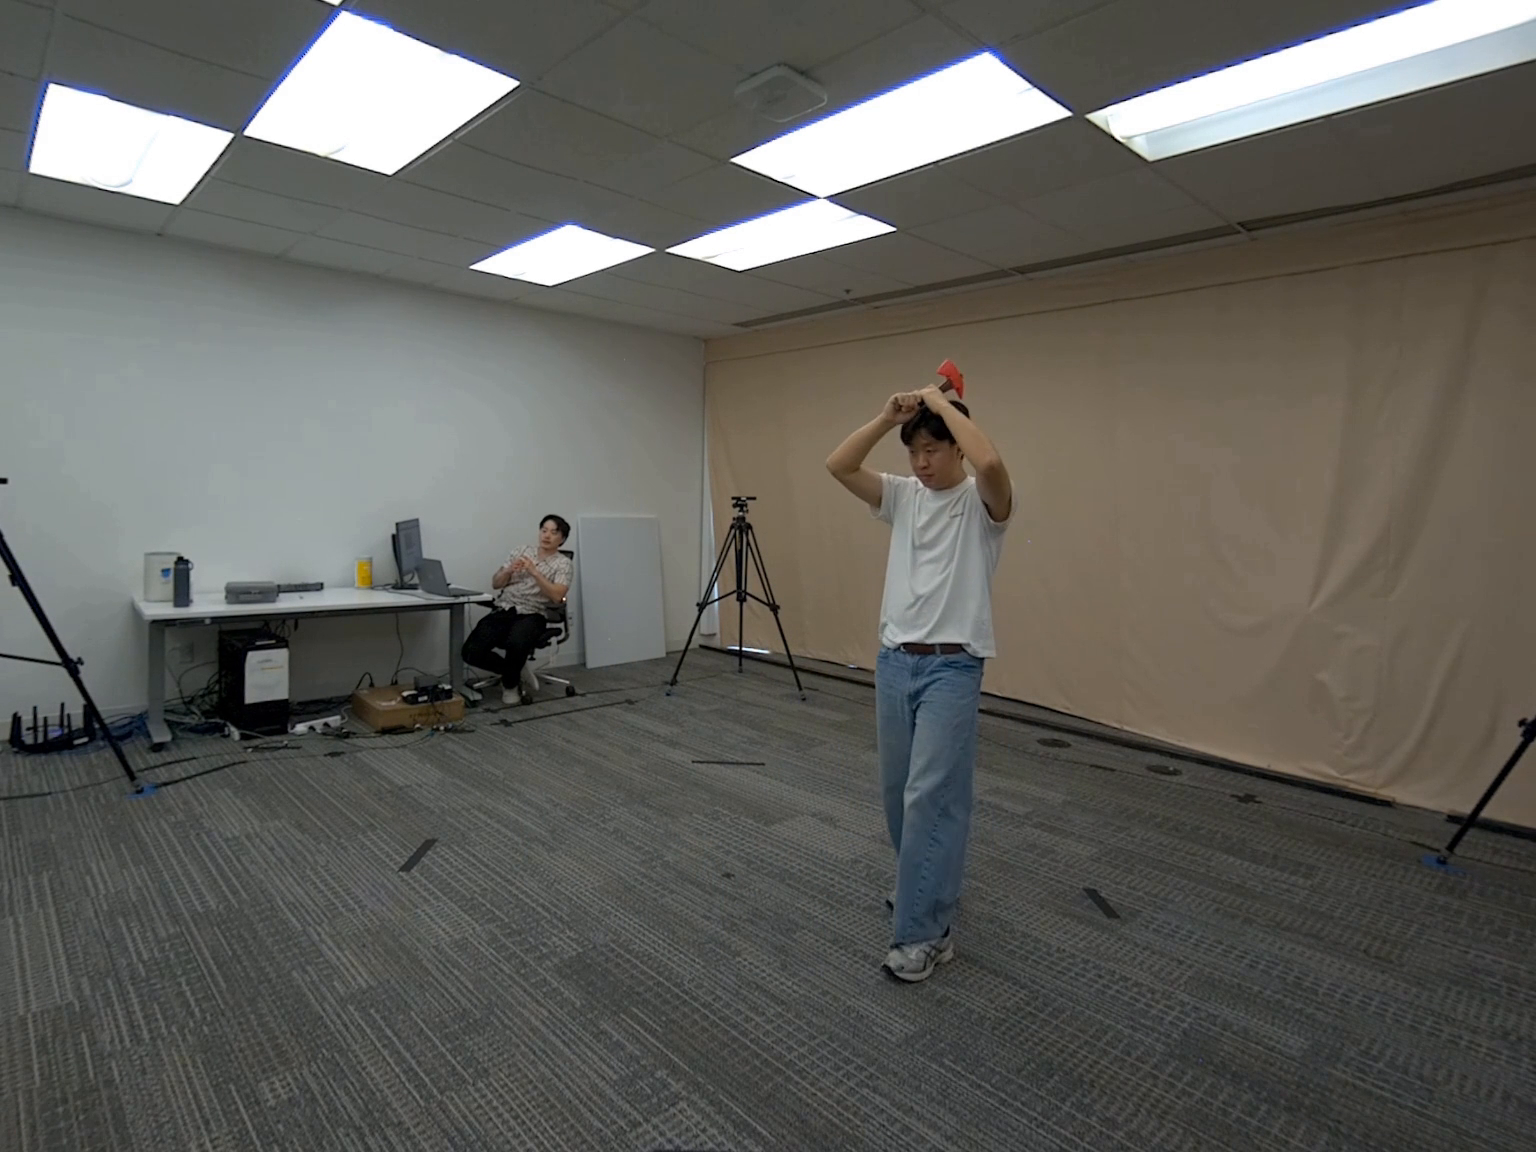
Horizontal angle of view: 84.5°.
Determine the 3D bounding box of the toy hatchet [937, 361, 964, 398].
[{"bbox_3d":[0.490,-0.597,2.629,0.267,0.129,0.030,-16,18,-23],"label":"toy hatchet"}]
